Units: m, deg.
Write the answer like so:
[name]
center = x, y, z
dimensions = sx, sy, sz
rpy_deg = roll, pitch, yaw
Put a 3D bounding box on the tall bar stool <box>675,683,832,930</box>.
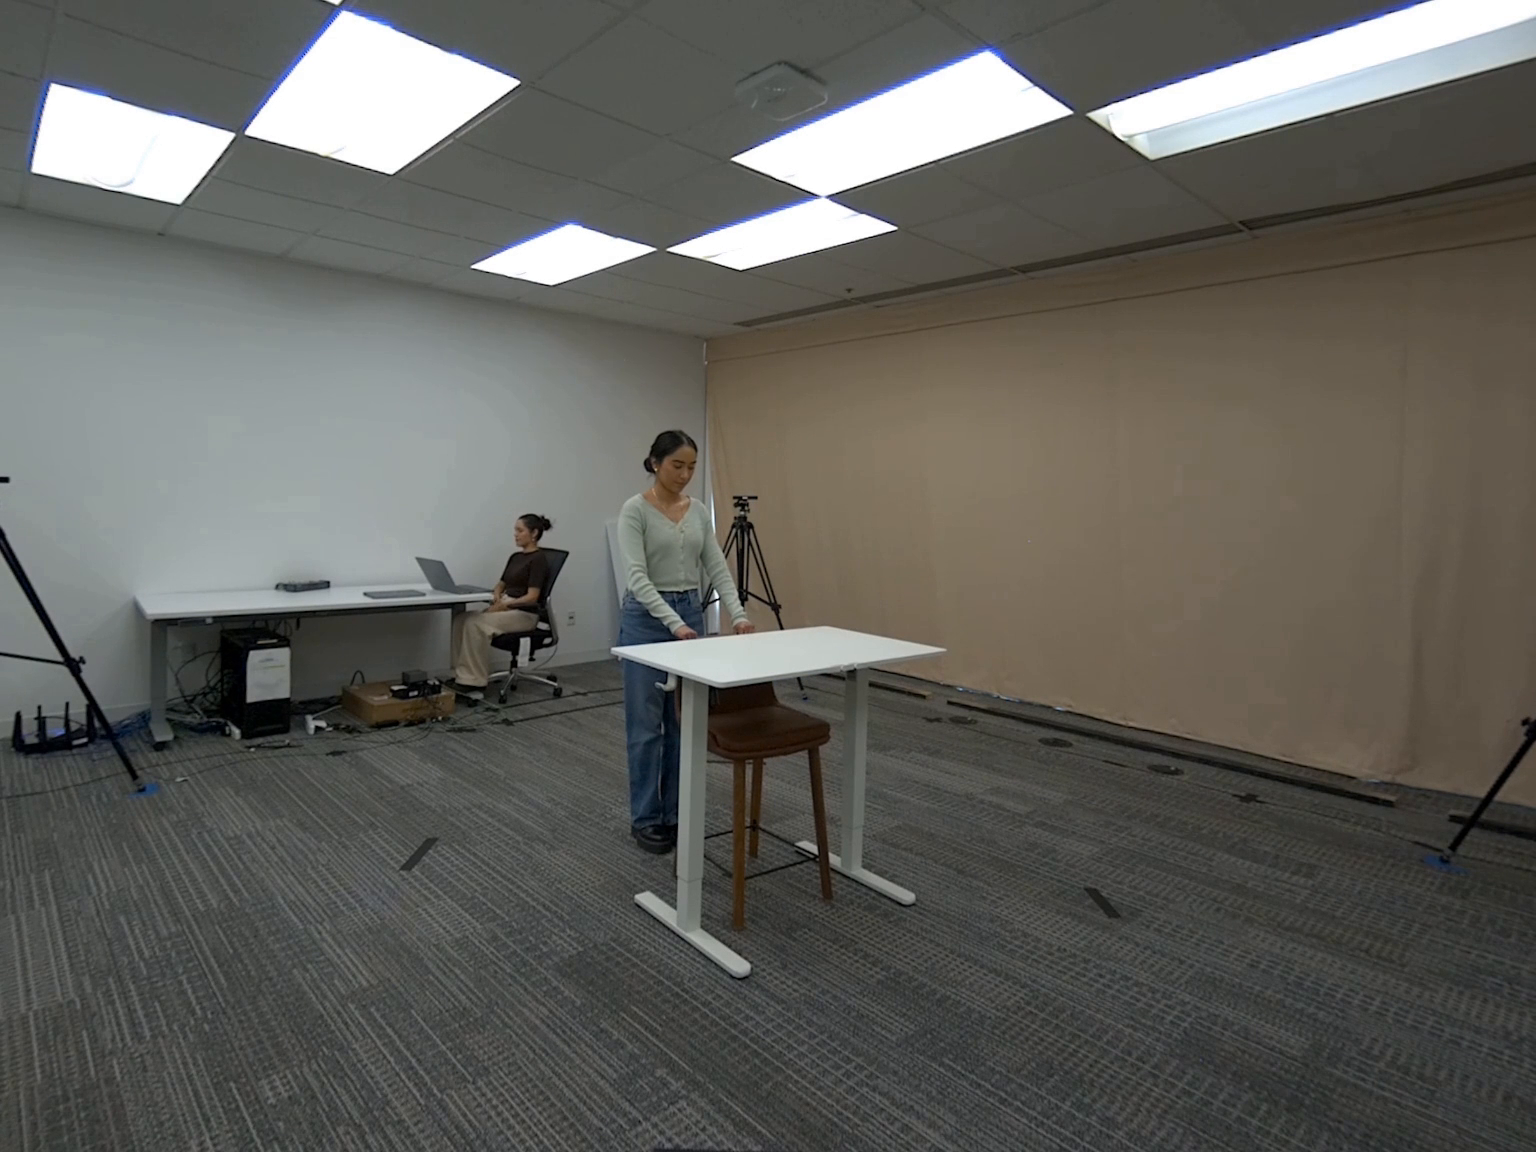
[tall bar stool]
center = -0.071, 0.682, 2.982
dimensions = 0.447, 0.888, 0.478
rpy_deg = -2, 2, -35
